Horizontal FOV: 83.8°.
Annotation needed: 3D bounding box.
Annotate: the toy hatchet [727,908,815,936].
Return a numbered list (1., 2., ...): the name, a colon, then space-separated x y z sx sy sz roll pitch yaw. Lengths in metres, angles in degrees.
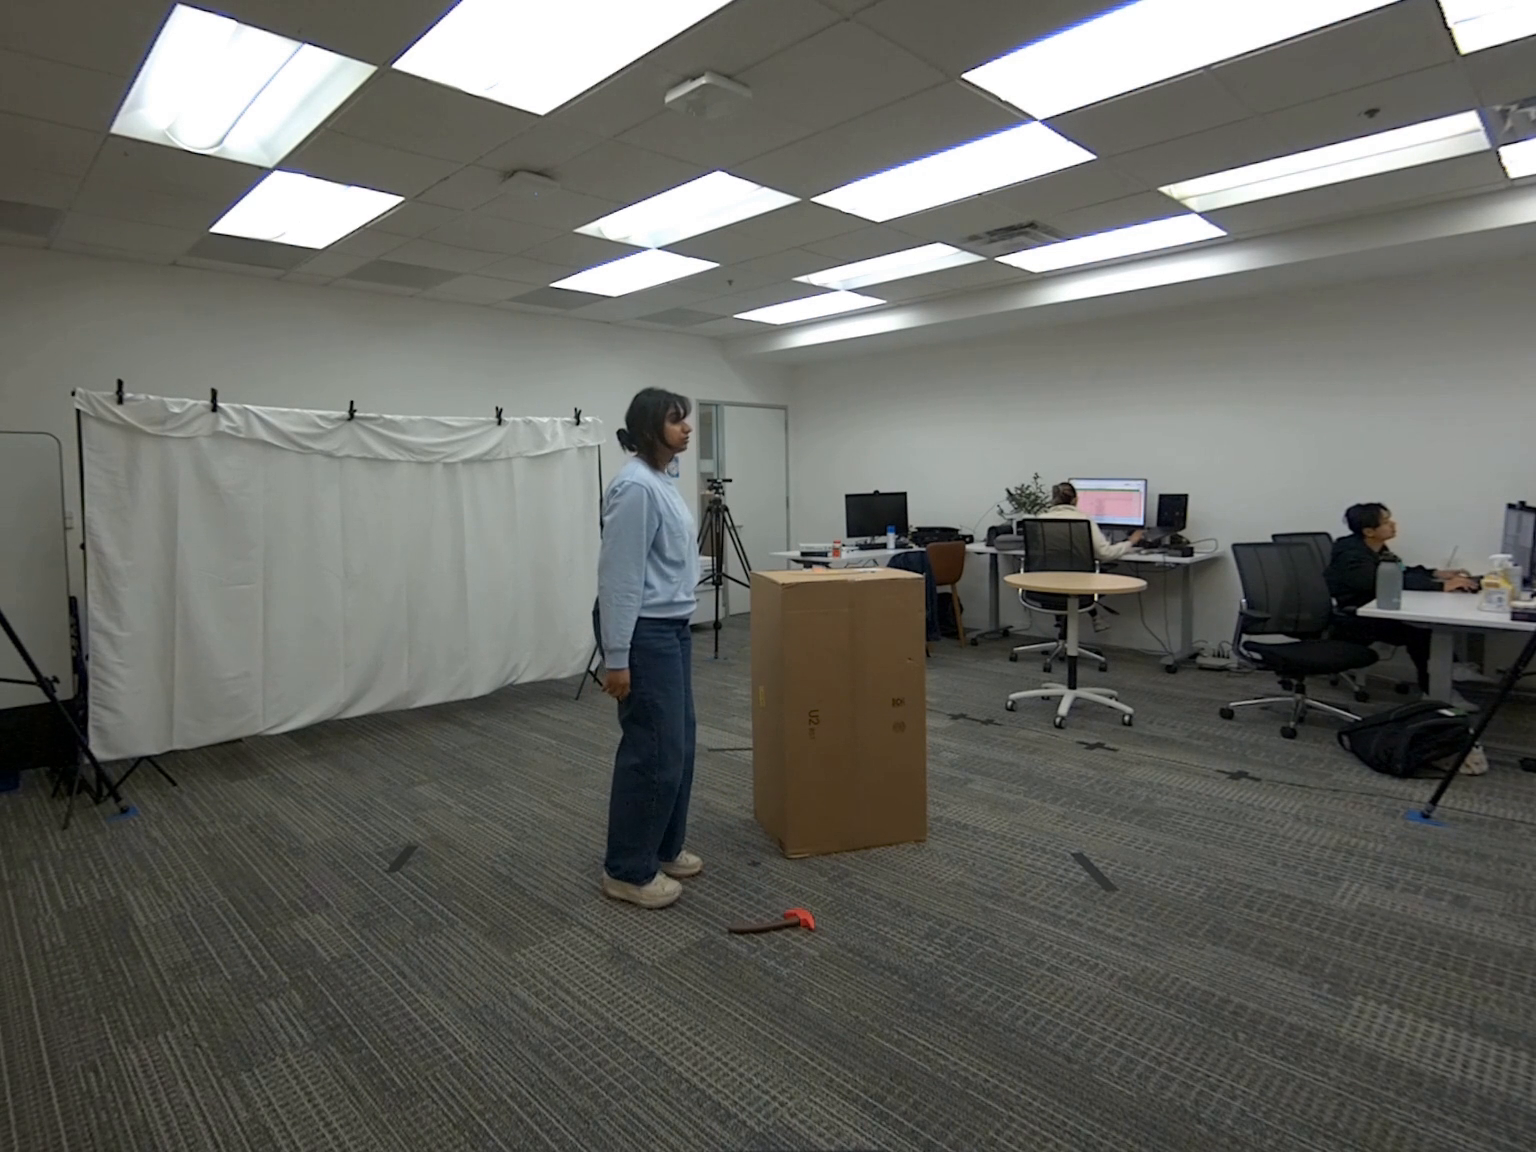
1. toy hatchet: 0.009 1.085 2.688 0.270 0.029 0.132 -2 7 0
